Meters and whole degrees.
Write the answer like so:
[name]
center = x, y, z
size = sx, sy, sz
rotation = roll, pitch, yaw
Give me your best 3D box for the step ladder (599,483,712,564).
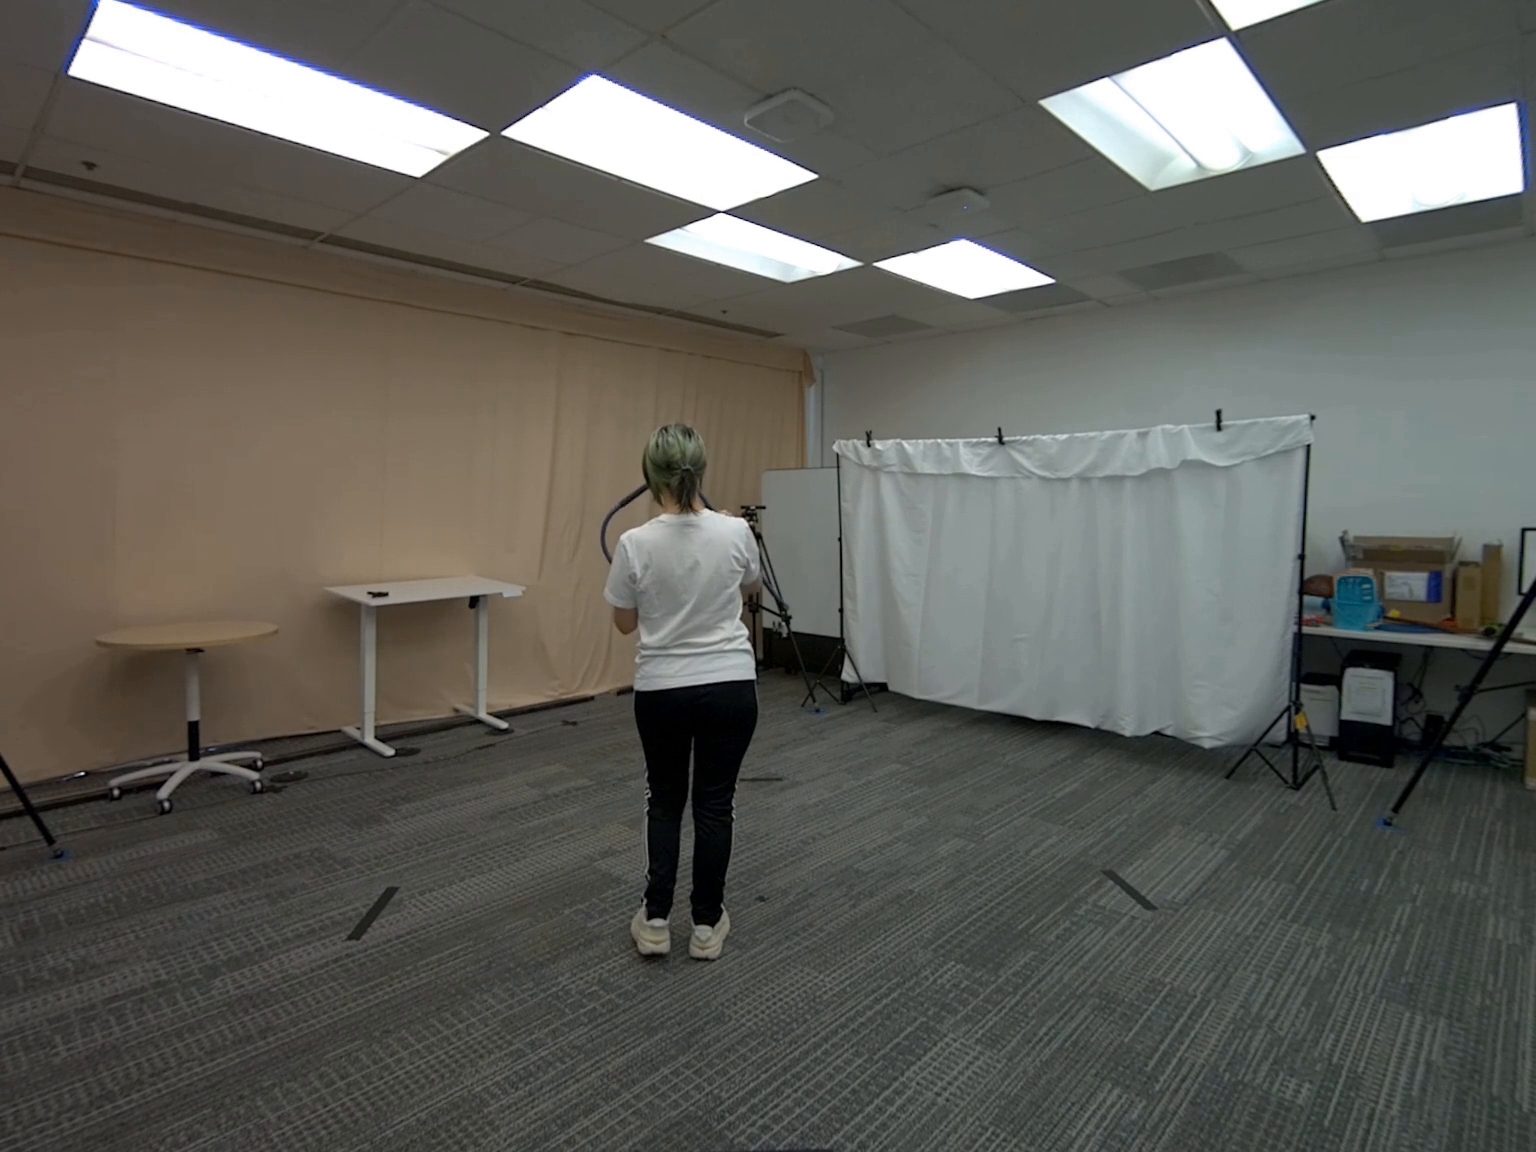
[step ladder]
center = -0.304, -0.037, 2.979
size = 0.429, 0.589, 0.360
rotation = -37, 29, -8
